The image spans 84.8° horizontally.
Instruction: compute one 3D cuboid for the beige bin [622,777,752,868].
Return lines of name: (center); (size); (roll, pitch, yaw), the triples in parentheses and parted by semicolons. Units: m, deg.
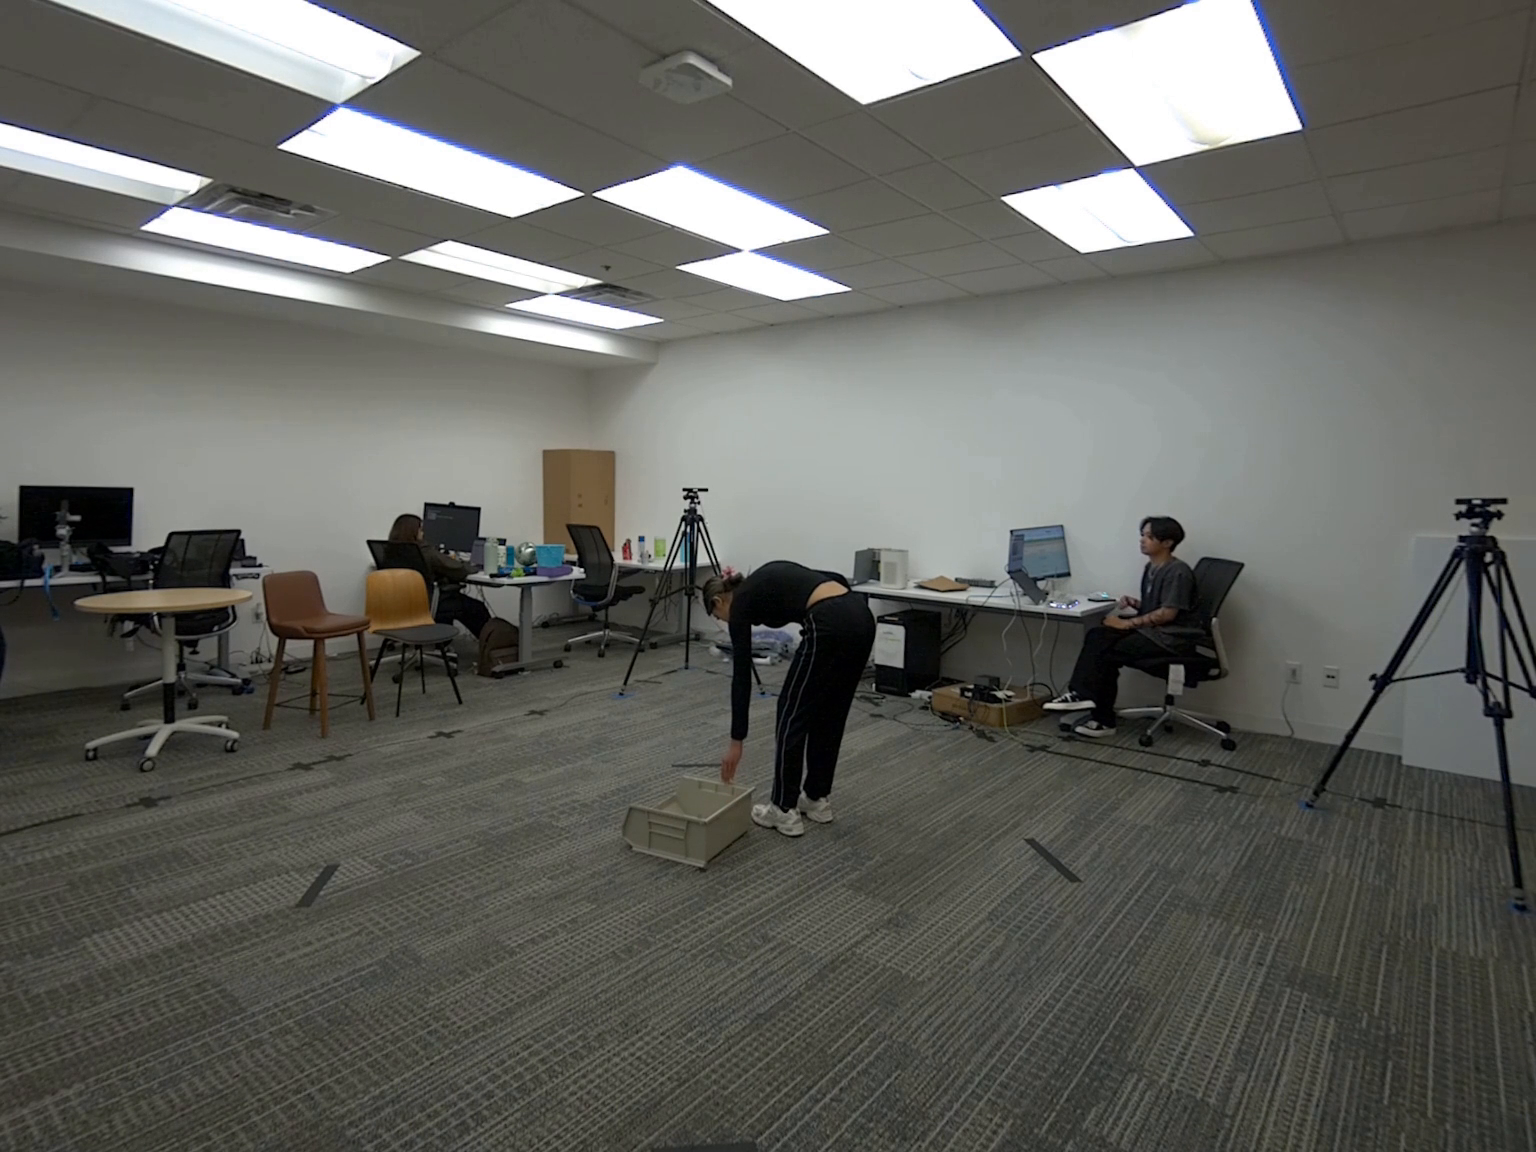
beige bin: (-0.319, 0.955, 3.375); (0.388, 0.188, 0.412); (4, 5, 26)
